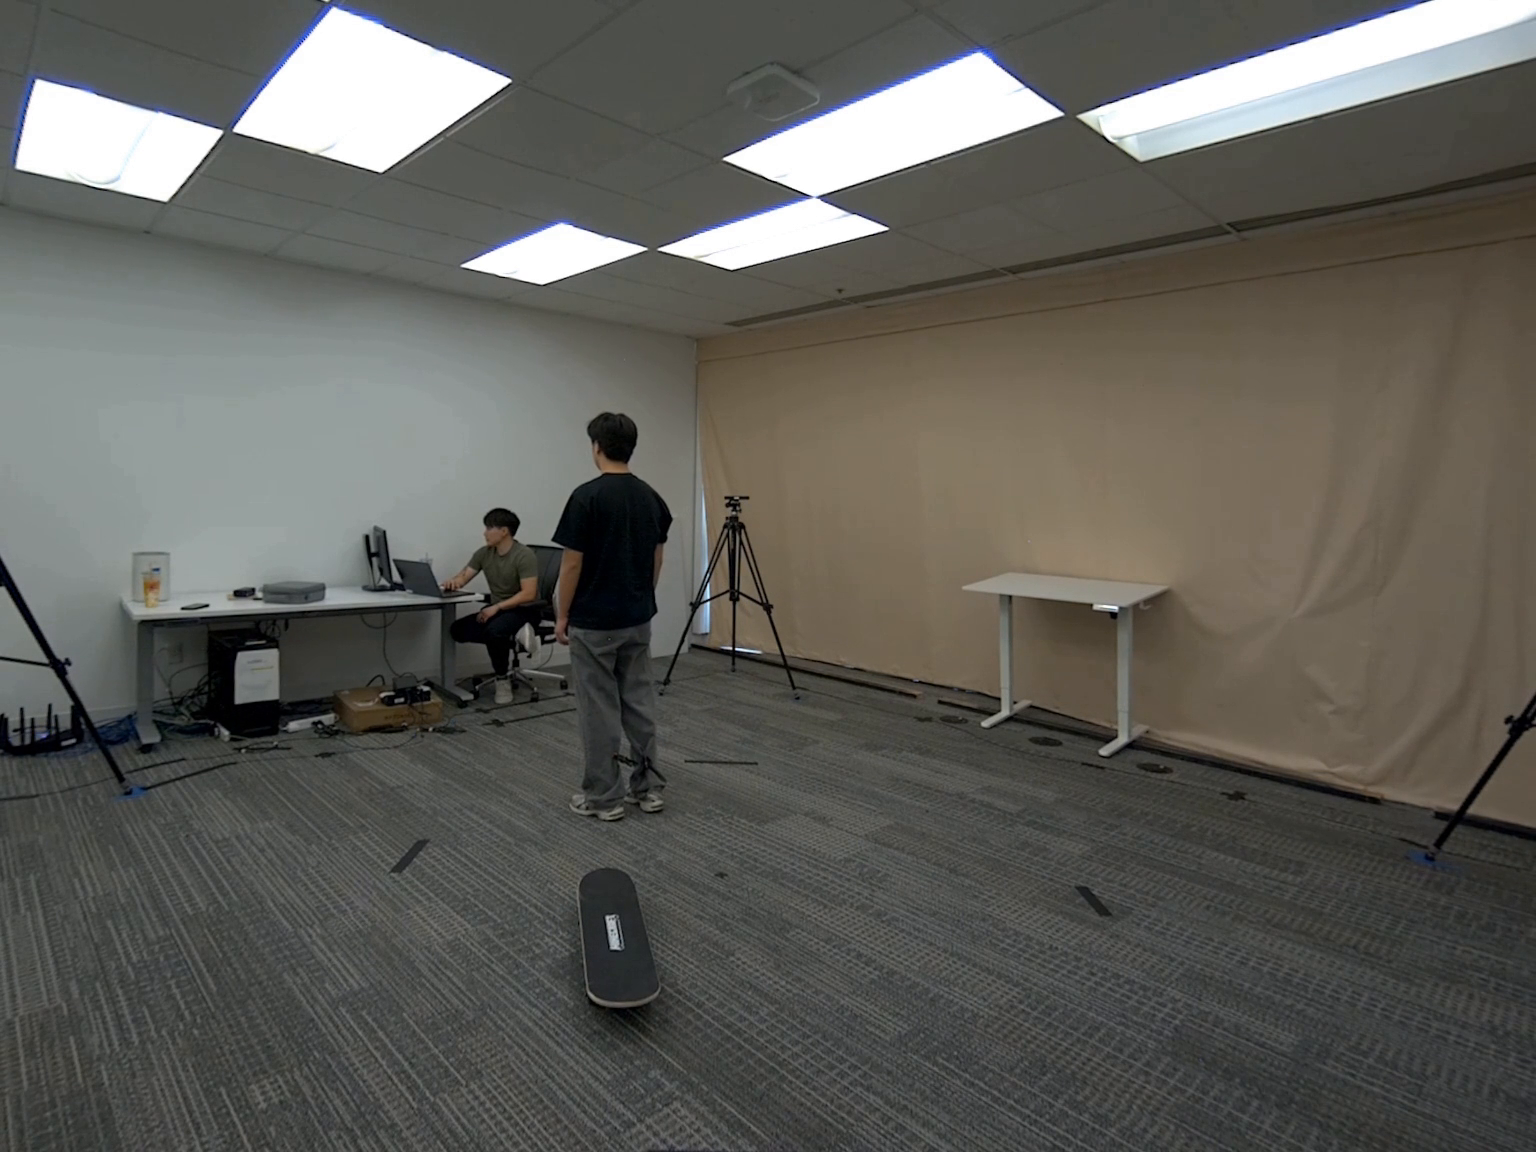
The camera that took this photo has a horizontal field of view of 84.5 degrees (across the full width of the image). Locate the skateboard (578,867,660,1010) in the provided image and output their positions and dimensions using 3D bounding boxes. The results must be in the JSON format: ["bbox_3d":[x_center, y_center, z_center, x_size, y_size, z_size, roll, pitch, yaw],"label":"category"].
[{"bbox_3d":[-0.469,1.098,2.509,0.191,0.110,0.797,0,6,-15],"label":"skateboard"}]
